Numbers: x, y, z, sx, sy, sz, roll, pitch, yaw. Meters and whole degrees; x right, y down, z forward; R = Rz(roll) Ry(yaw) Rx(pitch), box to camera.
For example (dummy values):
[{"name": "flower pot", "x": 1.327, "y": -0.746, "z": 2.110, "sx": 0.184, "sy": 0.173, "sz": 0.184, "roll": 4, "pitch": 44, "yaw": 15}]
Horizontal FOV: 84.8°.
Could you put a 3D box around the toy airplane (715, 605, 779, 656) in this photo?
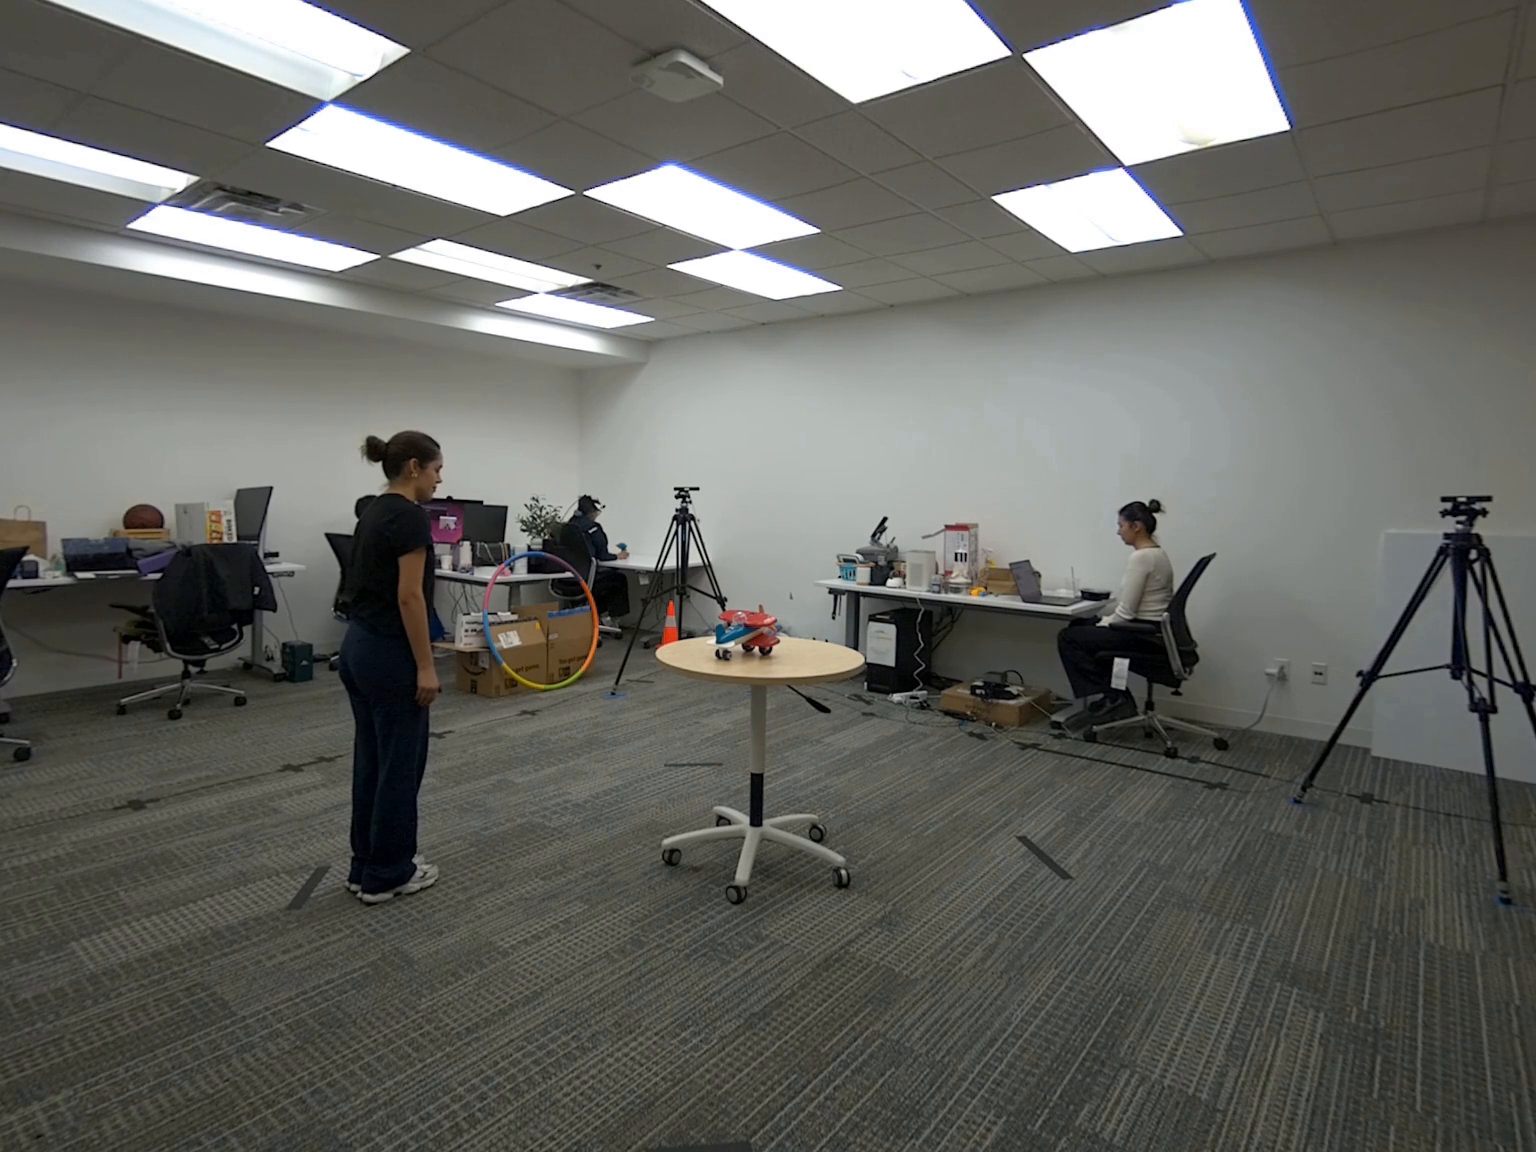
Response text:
[{"name": "toy airplane", "x": -0.070, "y": 0.214, "z": 3.083, "sx": 0.256, "sy": 0.156, "sz": 0.255, "roll": 2, "pitch": 4, "yaw": 16}]
